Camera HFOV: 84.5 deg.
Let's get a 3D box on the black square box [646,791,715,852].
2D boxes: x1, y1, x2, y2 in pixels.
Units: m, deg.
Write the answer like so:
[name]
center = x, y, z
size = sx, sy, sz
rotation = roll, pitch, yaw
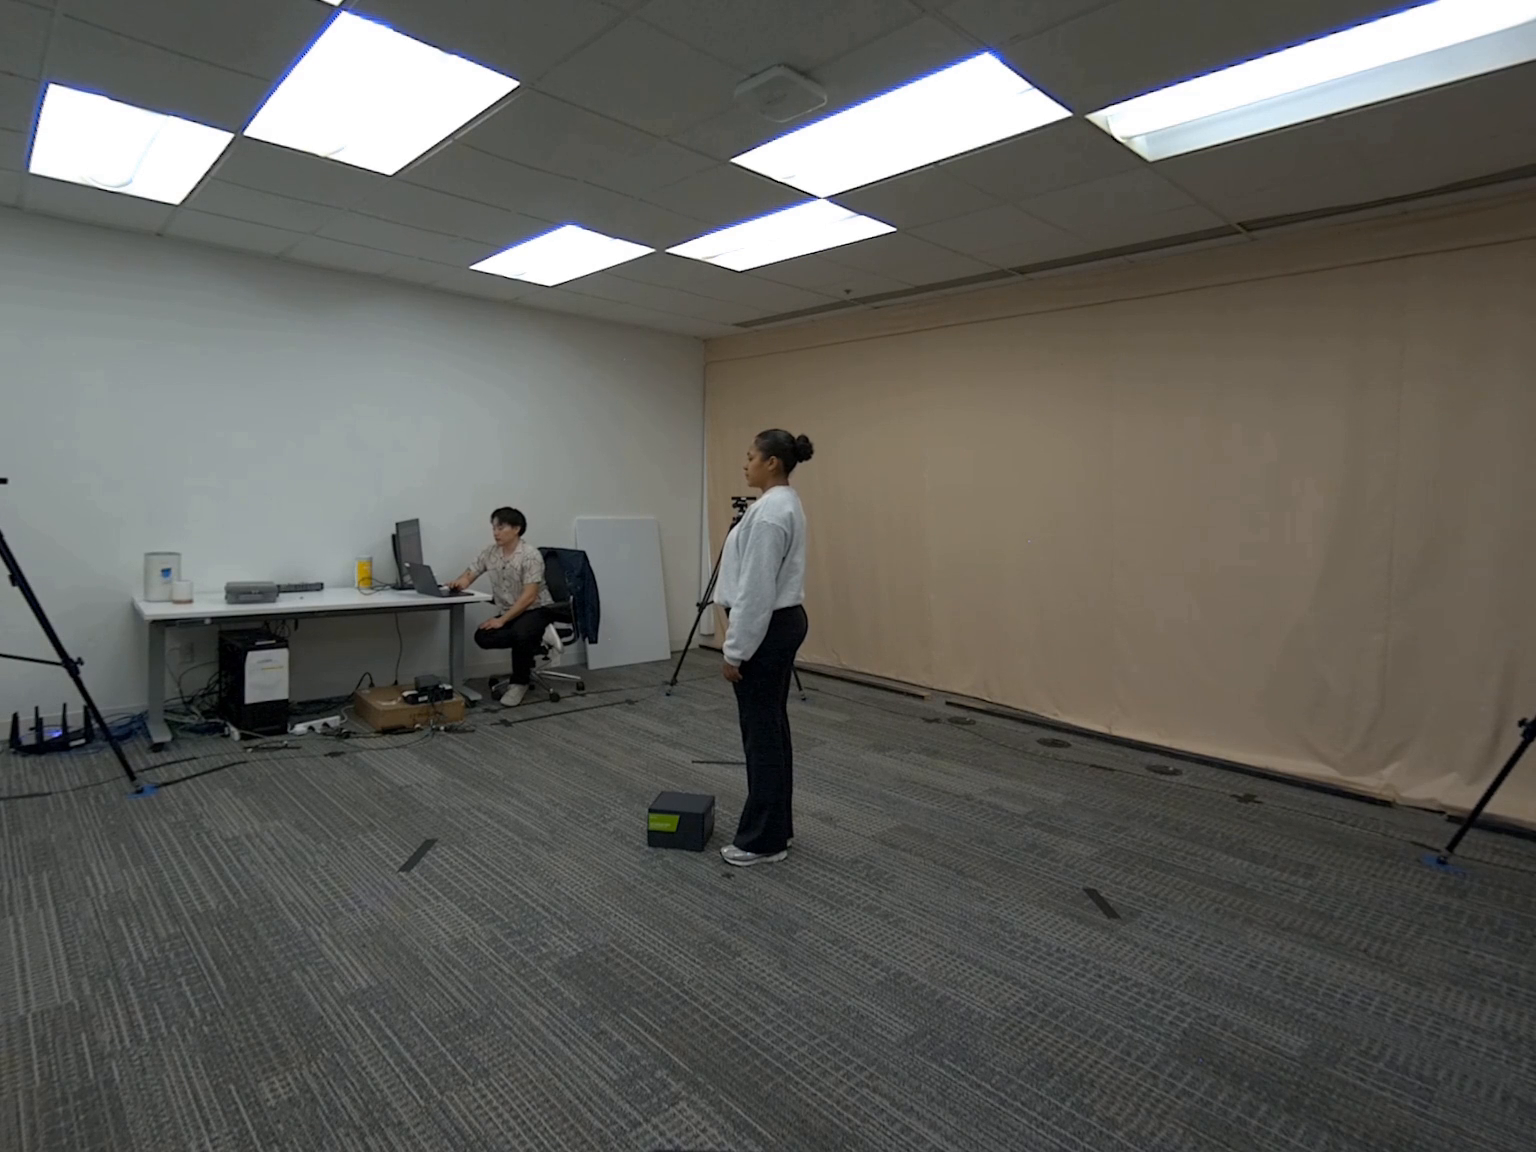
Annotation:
[black square box]
center = -0.355, 0.981, 3.425
size = 0.230, 0.155, 0.216
rotation = 2, 4, 9
